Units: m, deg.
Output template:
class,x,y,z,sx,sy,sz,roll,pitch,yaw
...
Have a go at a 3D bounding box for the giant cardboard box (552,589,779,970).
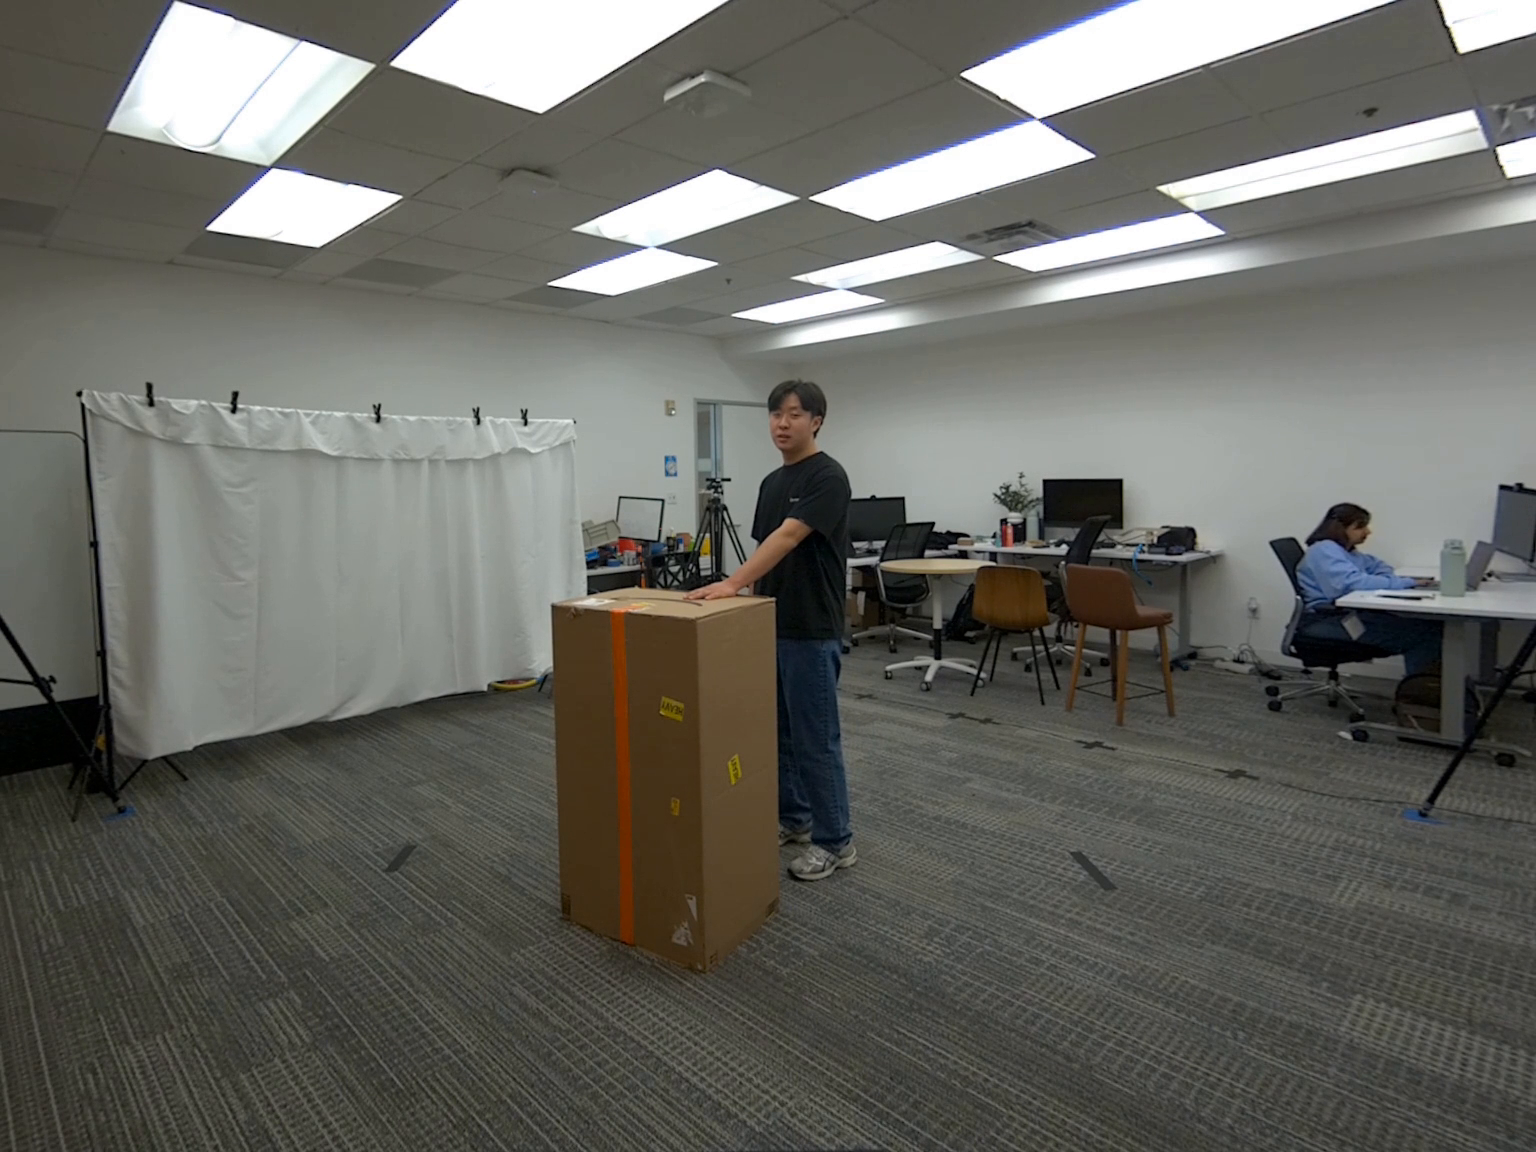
class,x,y,z,sx,sy,sz,roll,pitch,yaw
giant cardboard box,-0.322,0.581,2.713,0.601,1.022,0.436,2,6,35
